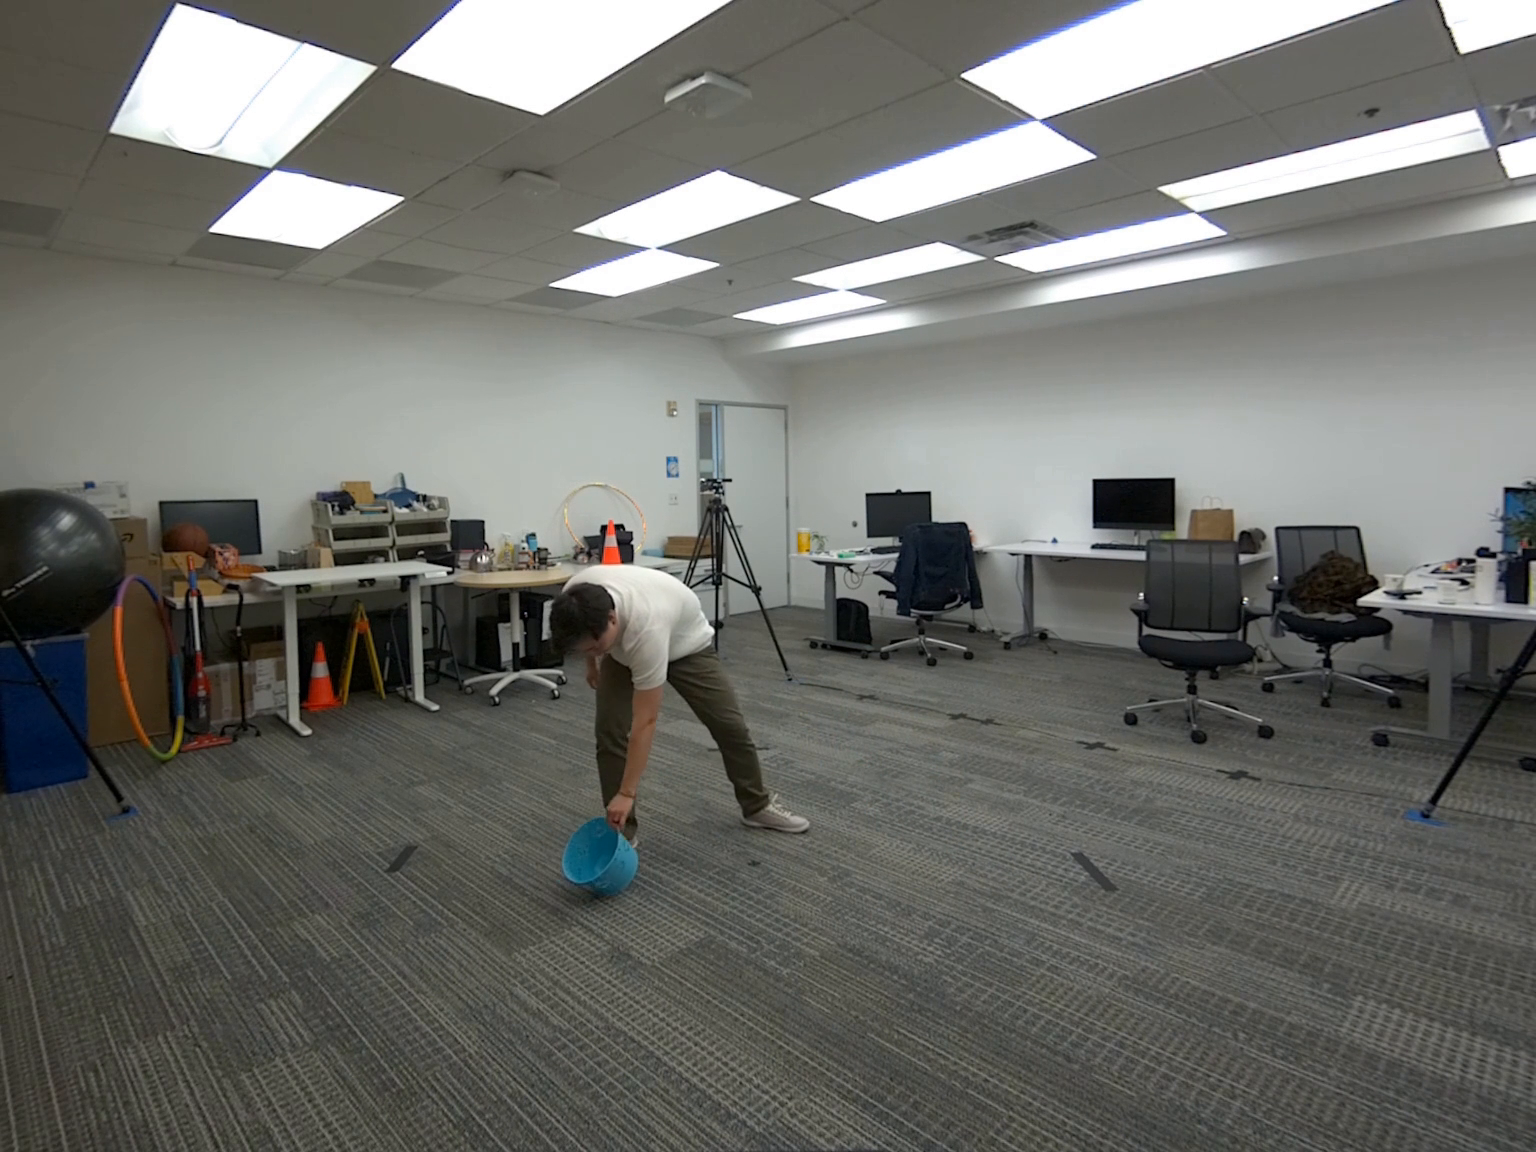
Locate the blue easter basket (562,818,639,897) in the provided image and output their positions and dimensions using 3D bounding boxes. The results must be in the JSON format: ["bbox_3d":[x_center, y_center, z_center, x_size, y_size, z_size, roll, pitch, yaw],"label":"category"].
[{"bbox_3d":[-0.547,0.960,2.890,0.246,0.150,0.250,-23,39,18],"label":"blue easter basket"}]
